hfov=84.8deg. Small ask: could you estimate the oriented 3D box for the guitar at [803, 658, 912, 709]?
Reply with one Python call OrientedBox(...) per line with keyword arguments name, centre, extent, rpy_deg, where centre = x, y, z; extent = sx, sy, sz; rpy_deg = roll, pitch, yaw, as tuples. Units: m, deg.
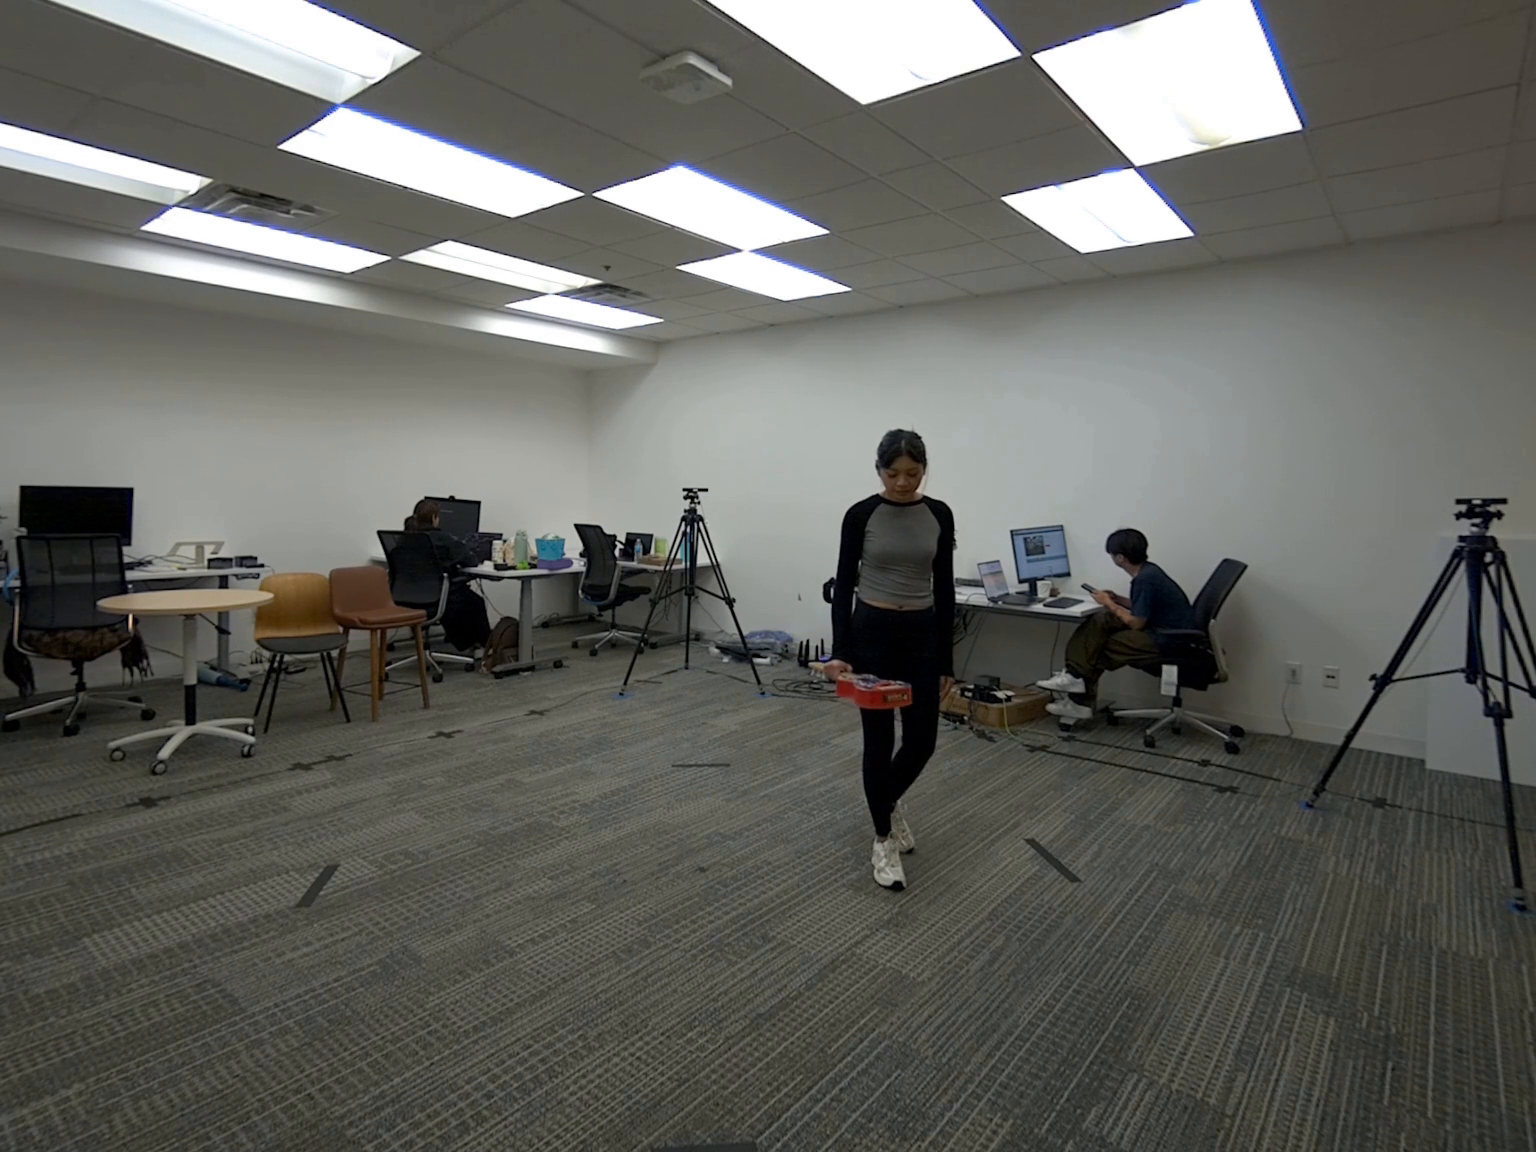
OrientedBox(name="guitar", centre=(0.302, 0.364, 2.929), extent=(0.190, 0.070, 0.507), rpy_deg=(0, 4, -18))
